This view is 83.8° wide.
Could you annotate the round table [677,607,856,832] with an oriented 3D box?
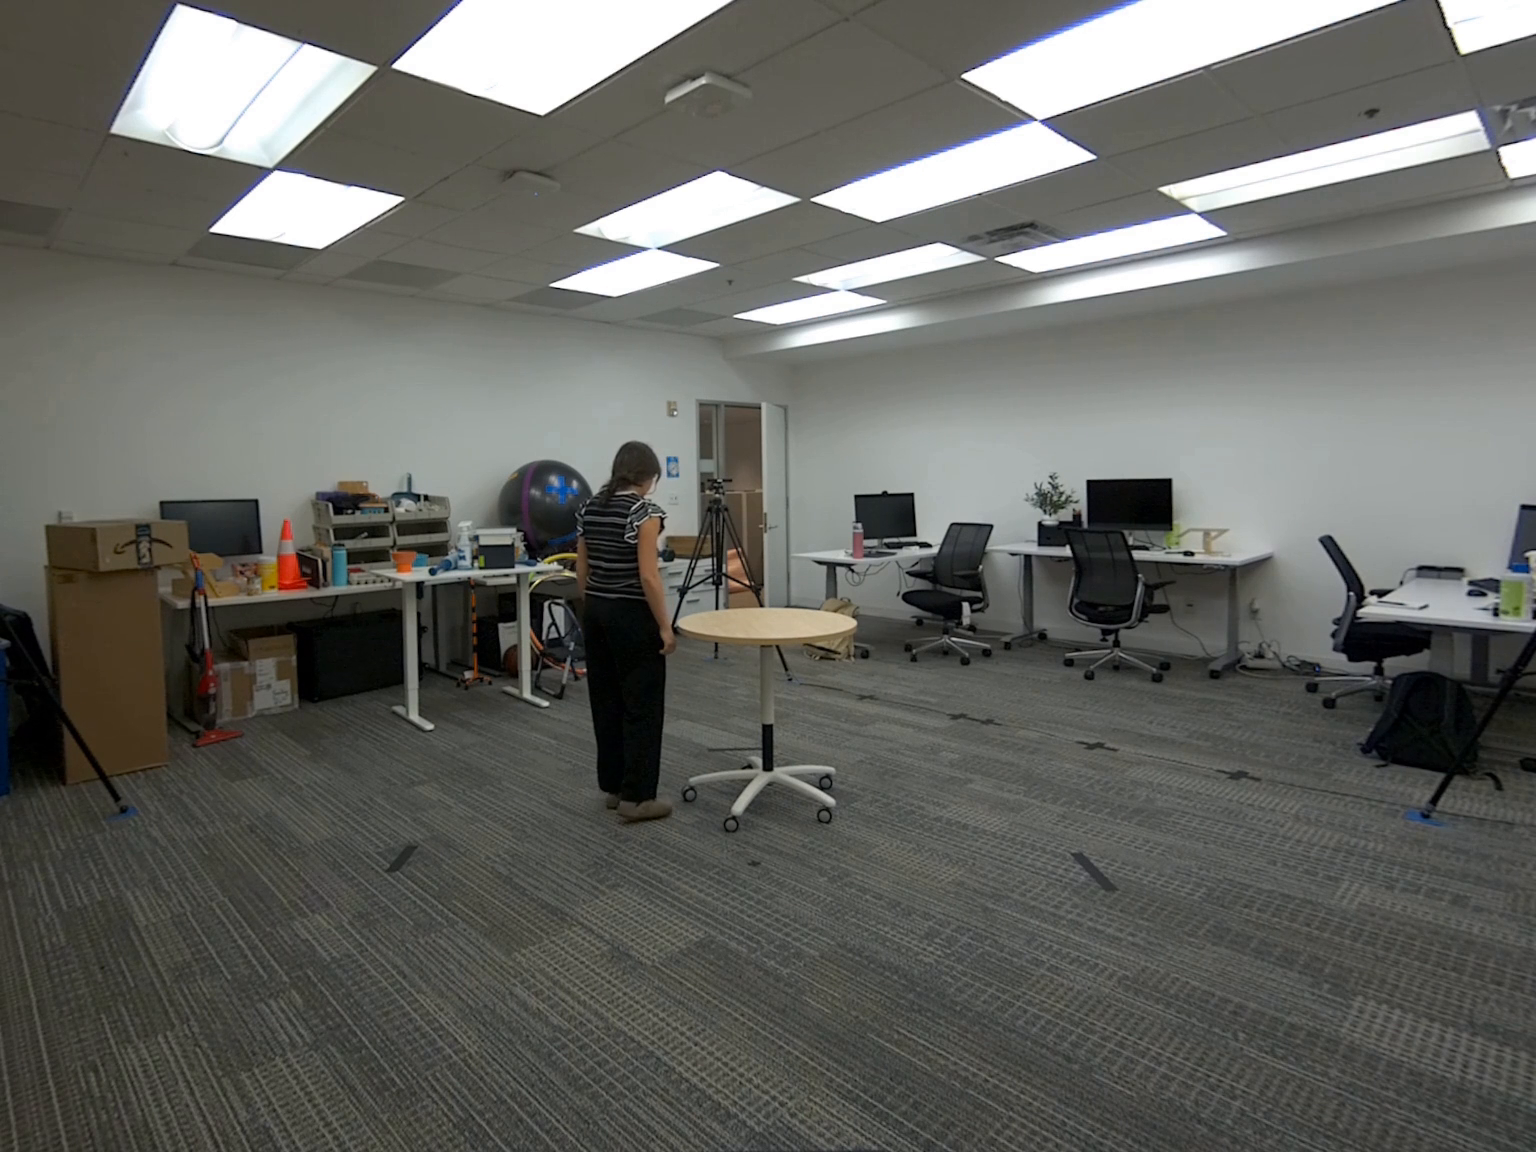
[{"bbox_3d":[-0.012,0.588,3.671,0.763,0.791,0.768,-1,5,-2],"label":"round table"}]
